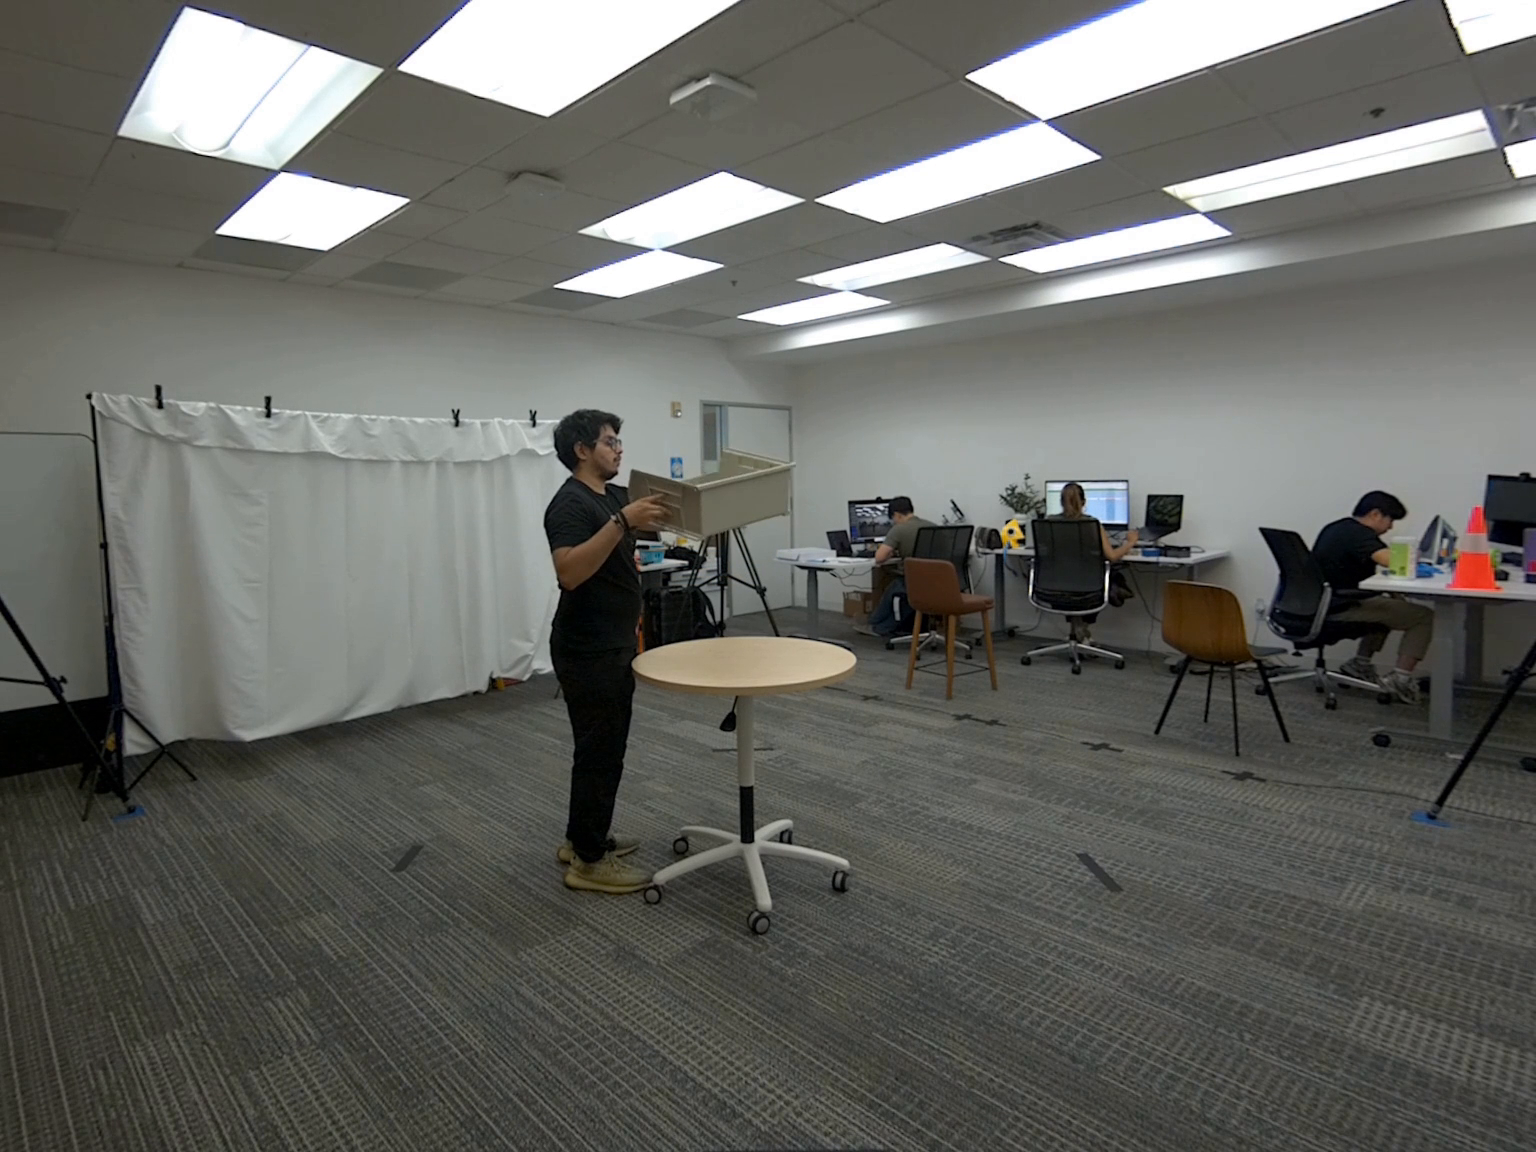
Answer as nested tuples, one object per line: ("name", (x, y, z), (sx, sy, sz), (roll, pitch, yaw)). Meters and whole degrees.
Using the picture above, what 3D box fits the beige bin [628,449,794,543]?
("beige bin", (-0.189, -0.283, 2.849), (0.414, 0.186, 0.391), (-19, 27, -40))
